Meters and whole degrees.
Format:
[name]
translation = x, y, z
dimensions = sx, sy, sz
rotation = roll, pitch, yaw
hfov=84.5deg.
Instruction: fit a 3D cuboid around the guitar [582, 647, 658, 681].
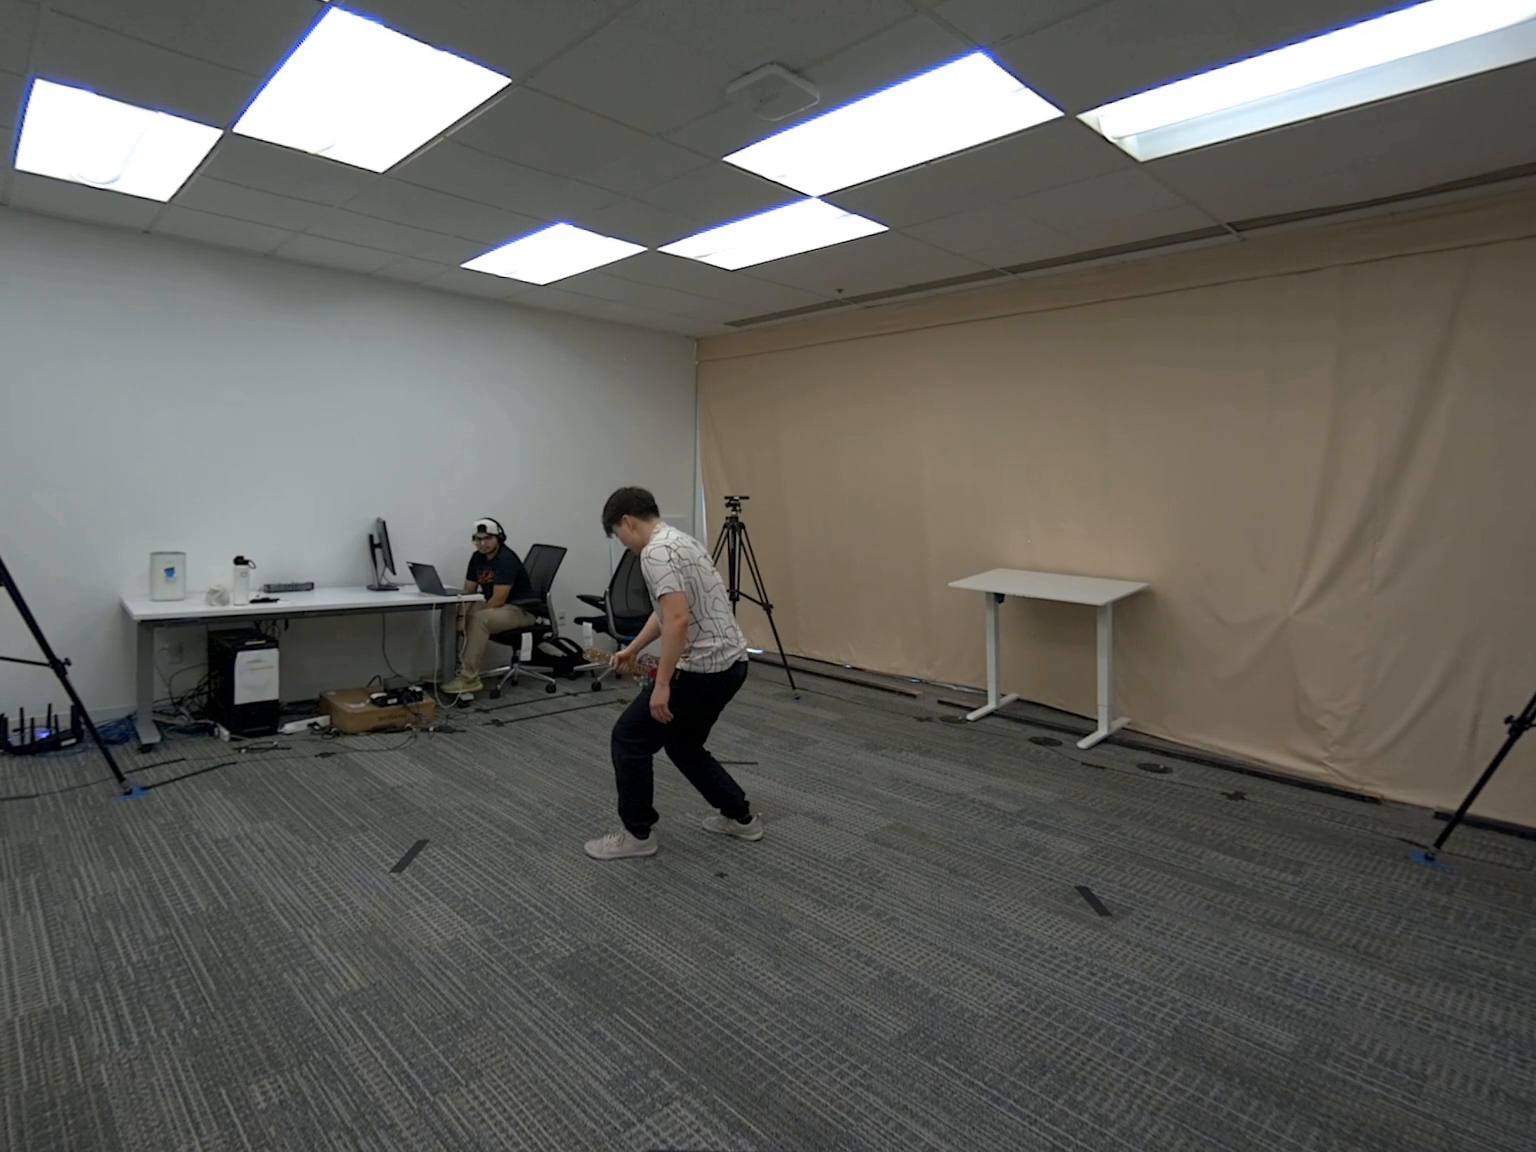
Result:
[guitar]
translation = -0.566, 0.388, 3.725
dimensions = 0.496, 0.193, 0.071
rotation = 26, -3, -4
